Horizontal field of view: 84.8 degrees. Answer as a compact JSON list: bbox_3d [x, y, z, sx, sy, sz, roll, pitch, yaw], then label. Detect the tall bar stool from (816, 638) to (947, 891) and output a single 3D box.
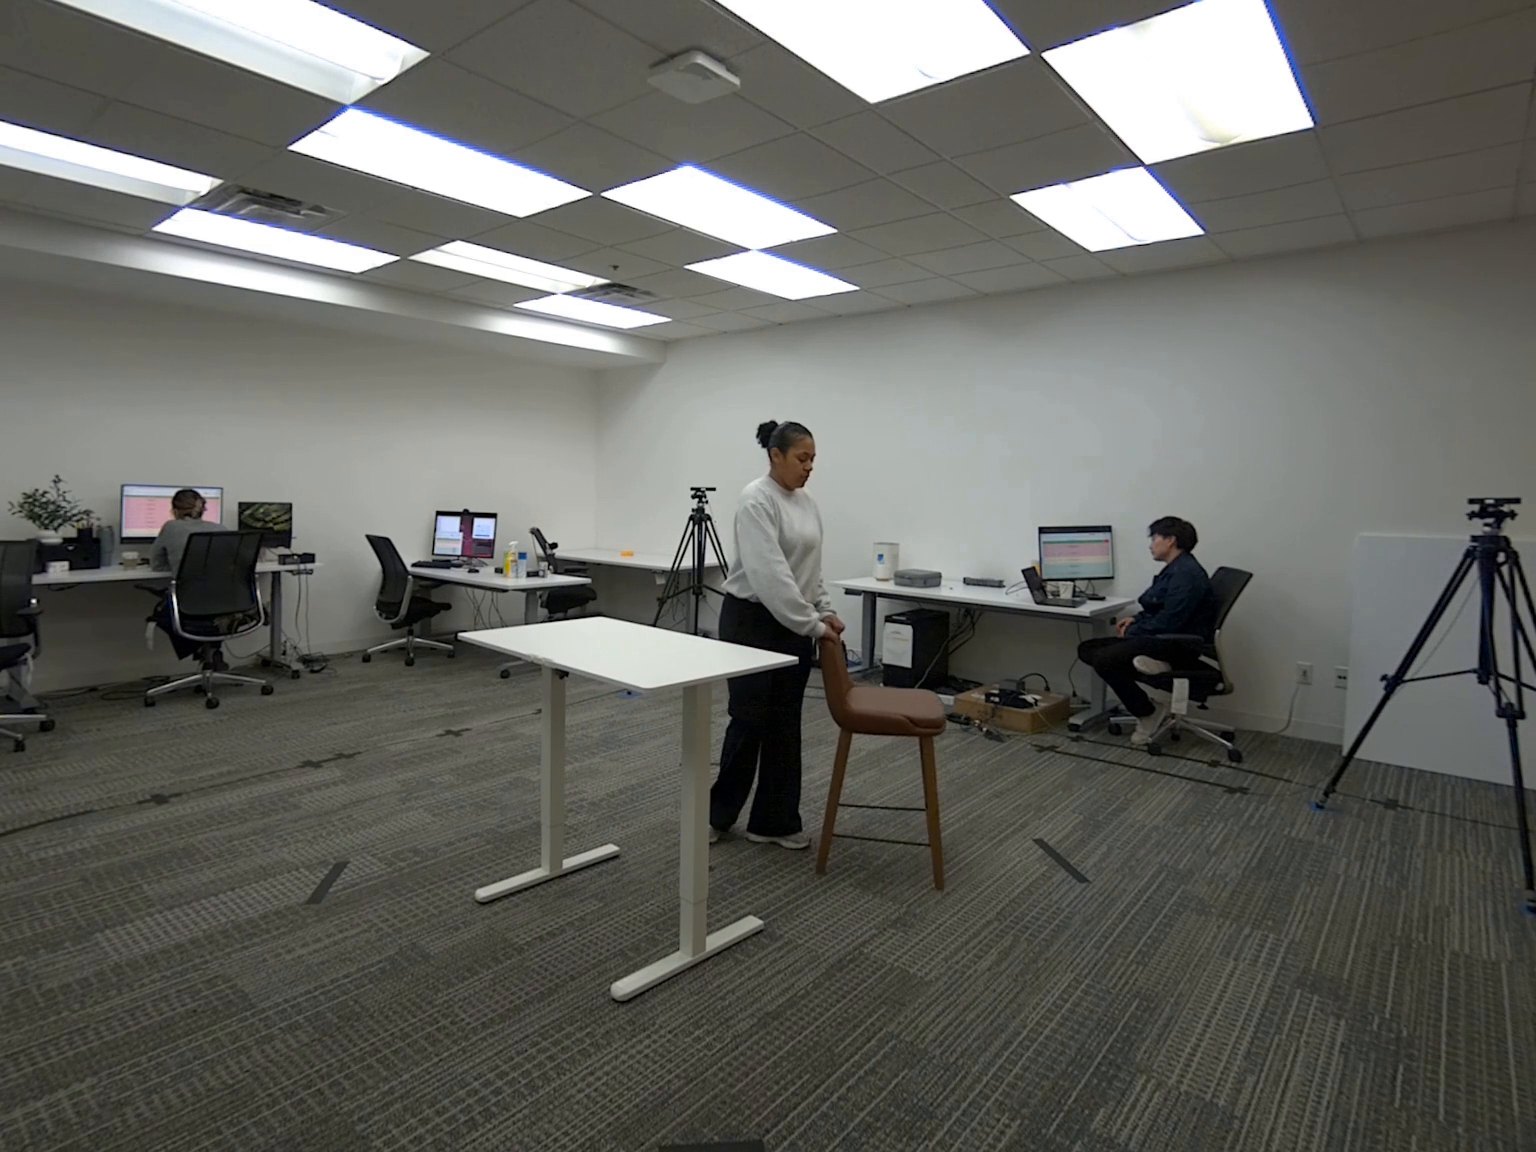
[{"bbox_3d":[0.421,0.637,3.199,0.473,0.888,0.452,0,2,11],"label":"tall bar stool"}]
